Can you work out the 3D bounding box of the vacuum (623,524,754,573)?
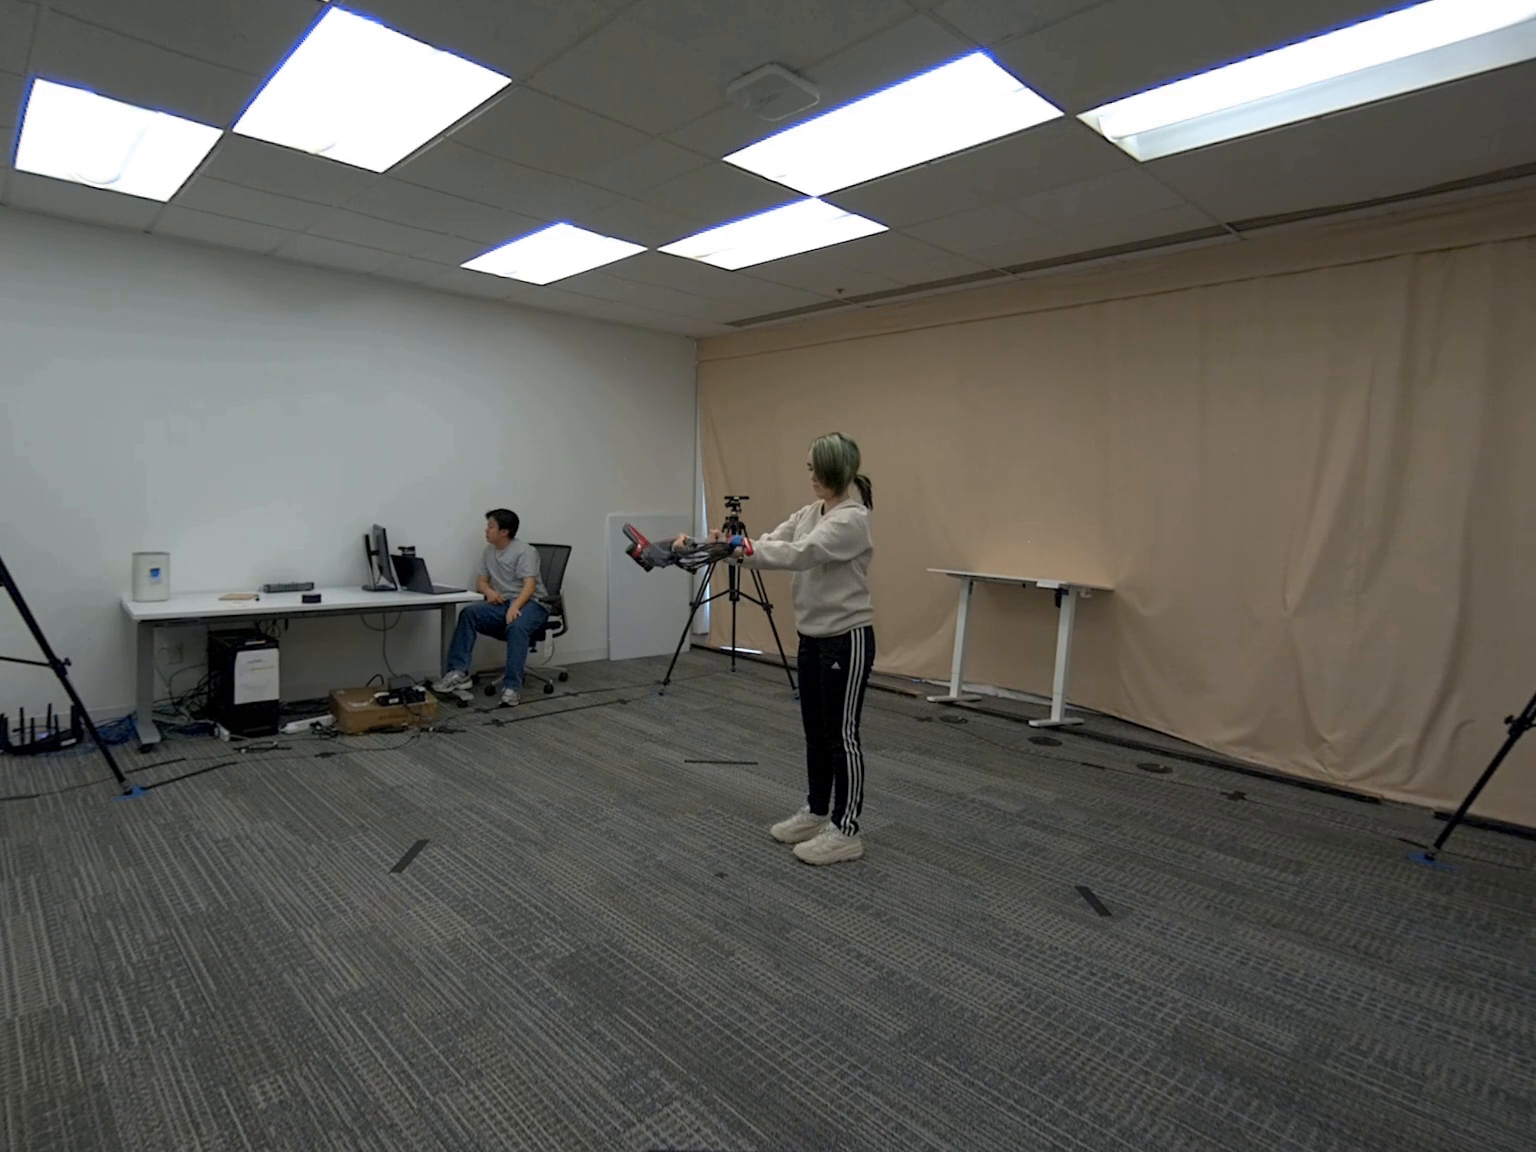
[{"bbox_3d":[-0.319,-0.092,3.169,0.247,0.144,1.069,43,-17,-21],"label":"vacuum"}]
